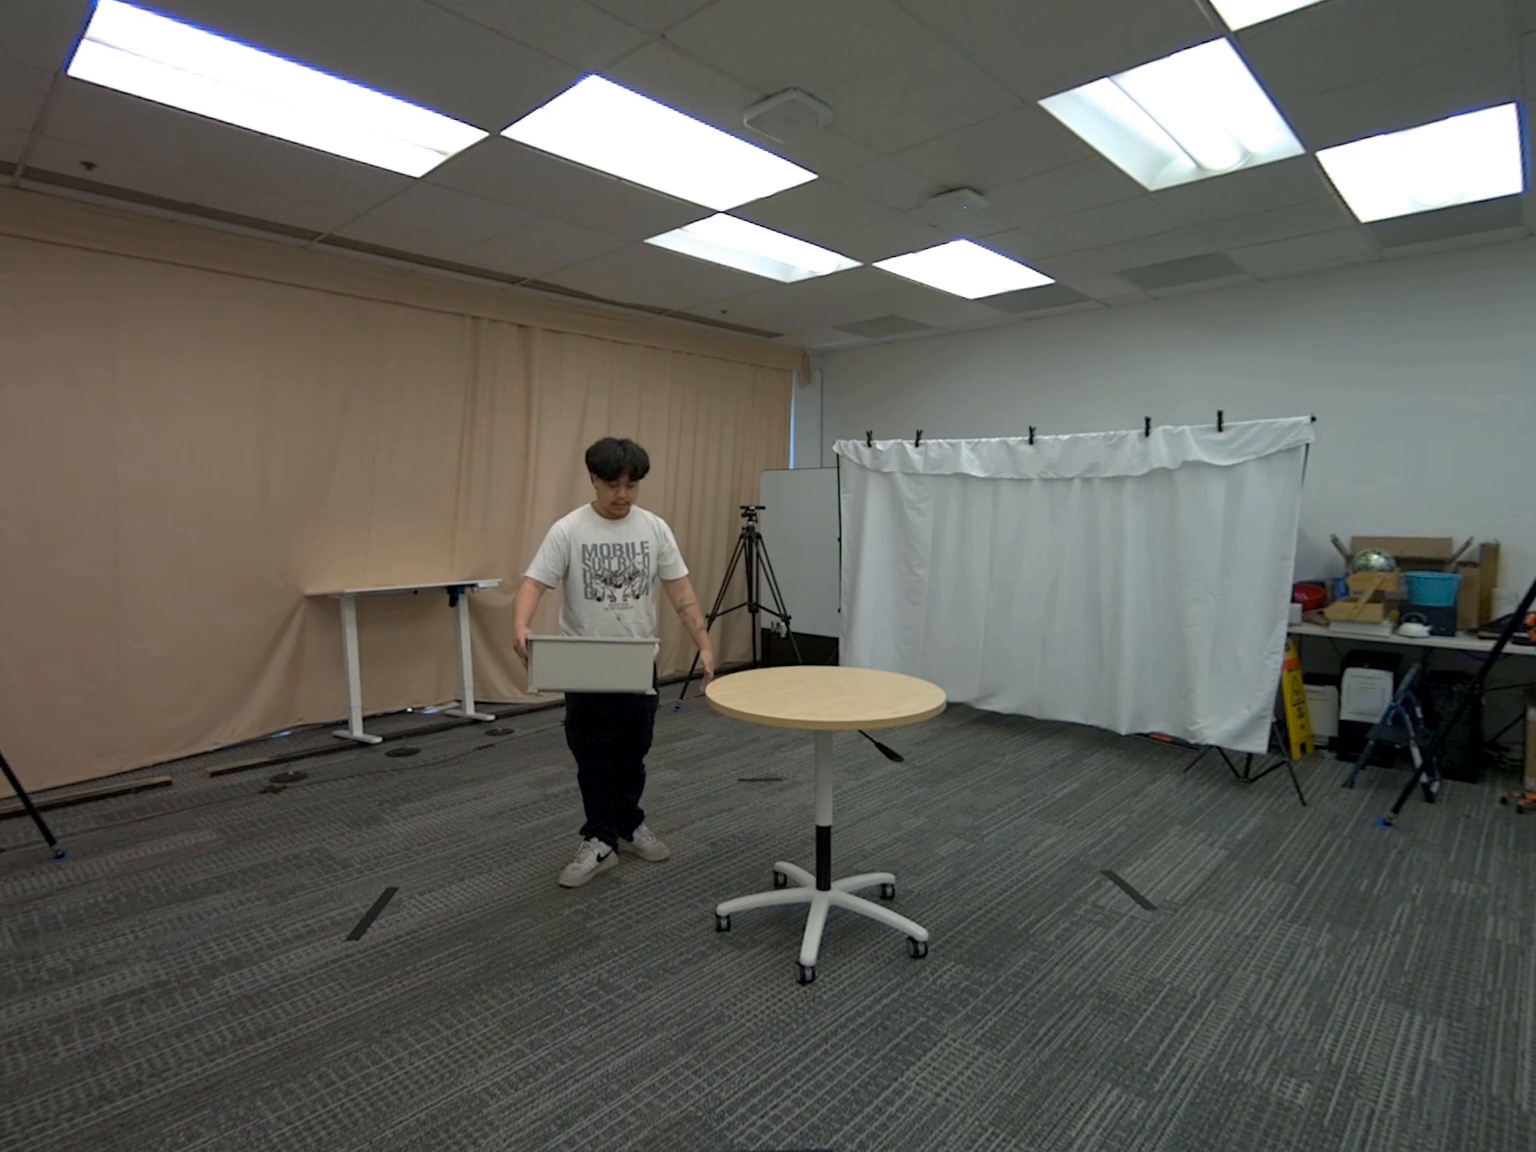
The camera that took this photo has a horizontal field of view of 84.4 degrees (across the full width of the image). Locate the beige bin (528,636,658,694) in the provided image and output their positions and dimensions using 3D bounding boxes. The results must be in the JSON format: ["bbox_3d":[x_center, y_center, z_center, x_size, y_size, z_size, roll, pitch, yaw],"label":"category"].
[{"bbox_3d":[-0.605,0.303,2.872,0.417,0.189,0.381,3,-5,-13],"label":"beige bin"}]
